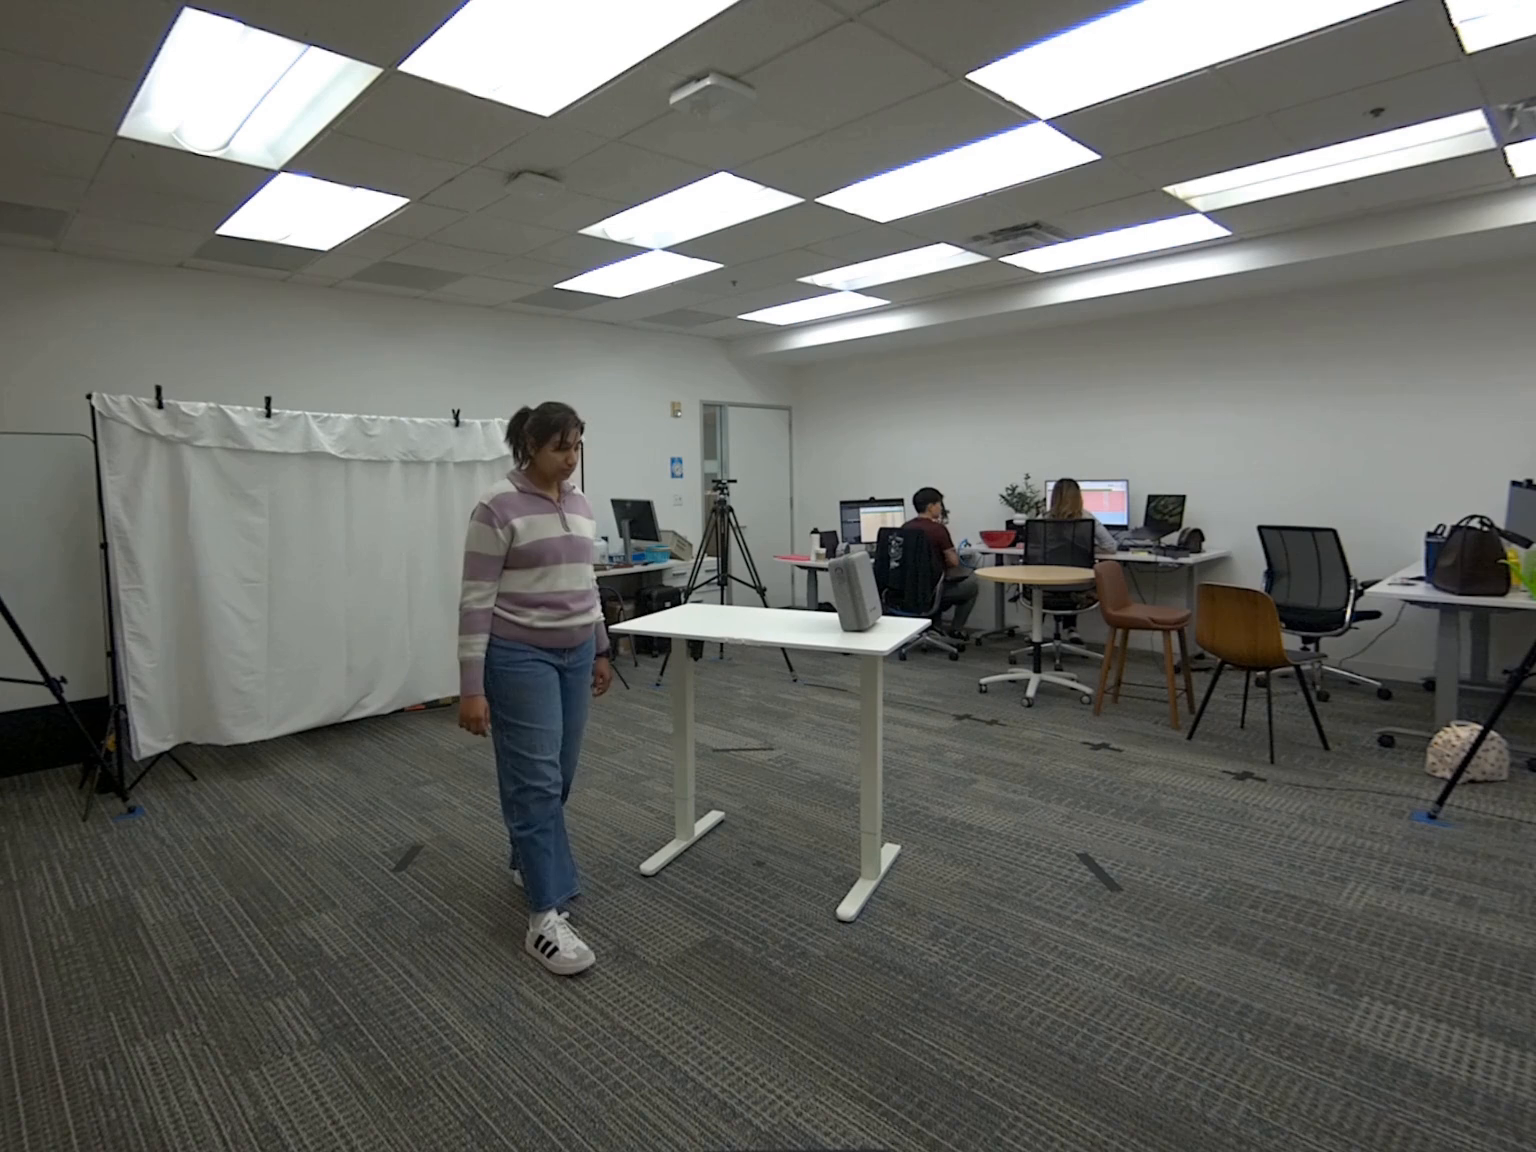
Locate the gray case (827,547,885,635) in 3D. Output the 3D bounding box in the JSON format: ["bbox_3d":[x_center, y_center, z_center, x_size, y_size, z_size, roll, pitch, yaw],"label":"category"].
[{"bbox_3d":[0.306,0.045,2.959,0.106,0.260,0.253,-9,1,19],"label":"gray case"}]
